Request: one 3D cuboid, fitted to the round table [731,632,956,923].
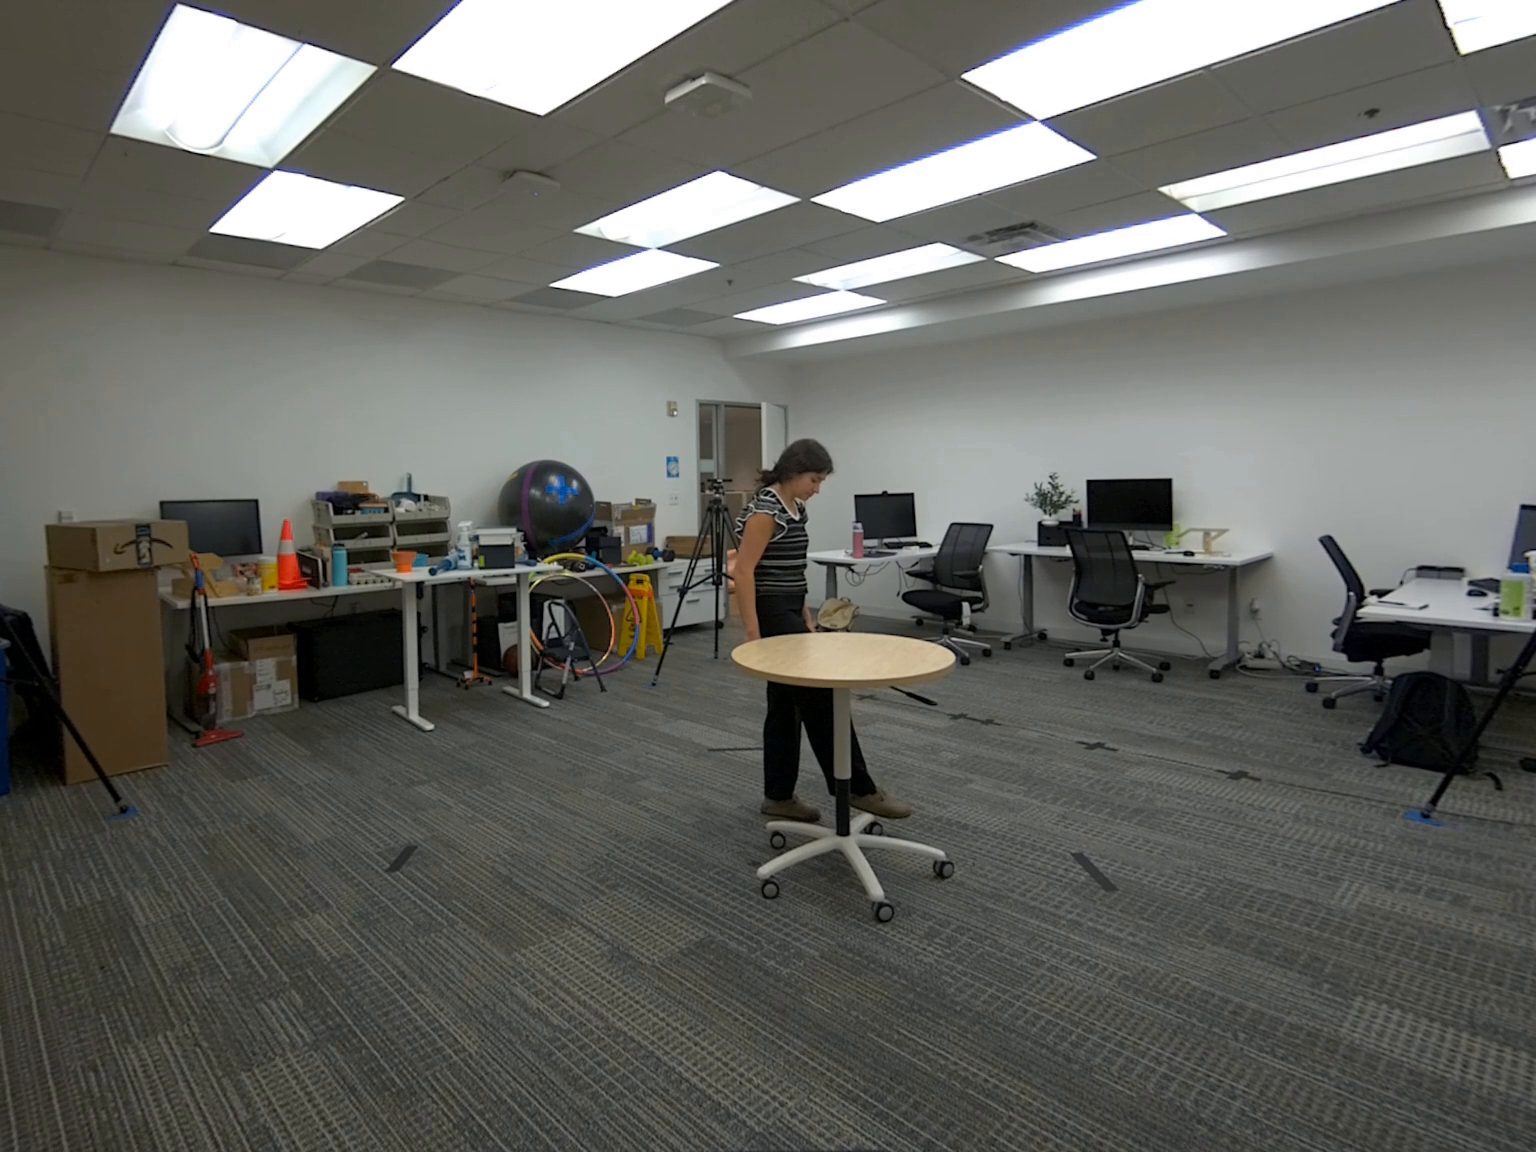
[{"bbox_3d":[0.262,0.658,3.003,0.784,0.783,0.789,-1,5,-2],"label":"round table"}]
